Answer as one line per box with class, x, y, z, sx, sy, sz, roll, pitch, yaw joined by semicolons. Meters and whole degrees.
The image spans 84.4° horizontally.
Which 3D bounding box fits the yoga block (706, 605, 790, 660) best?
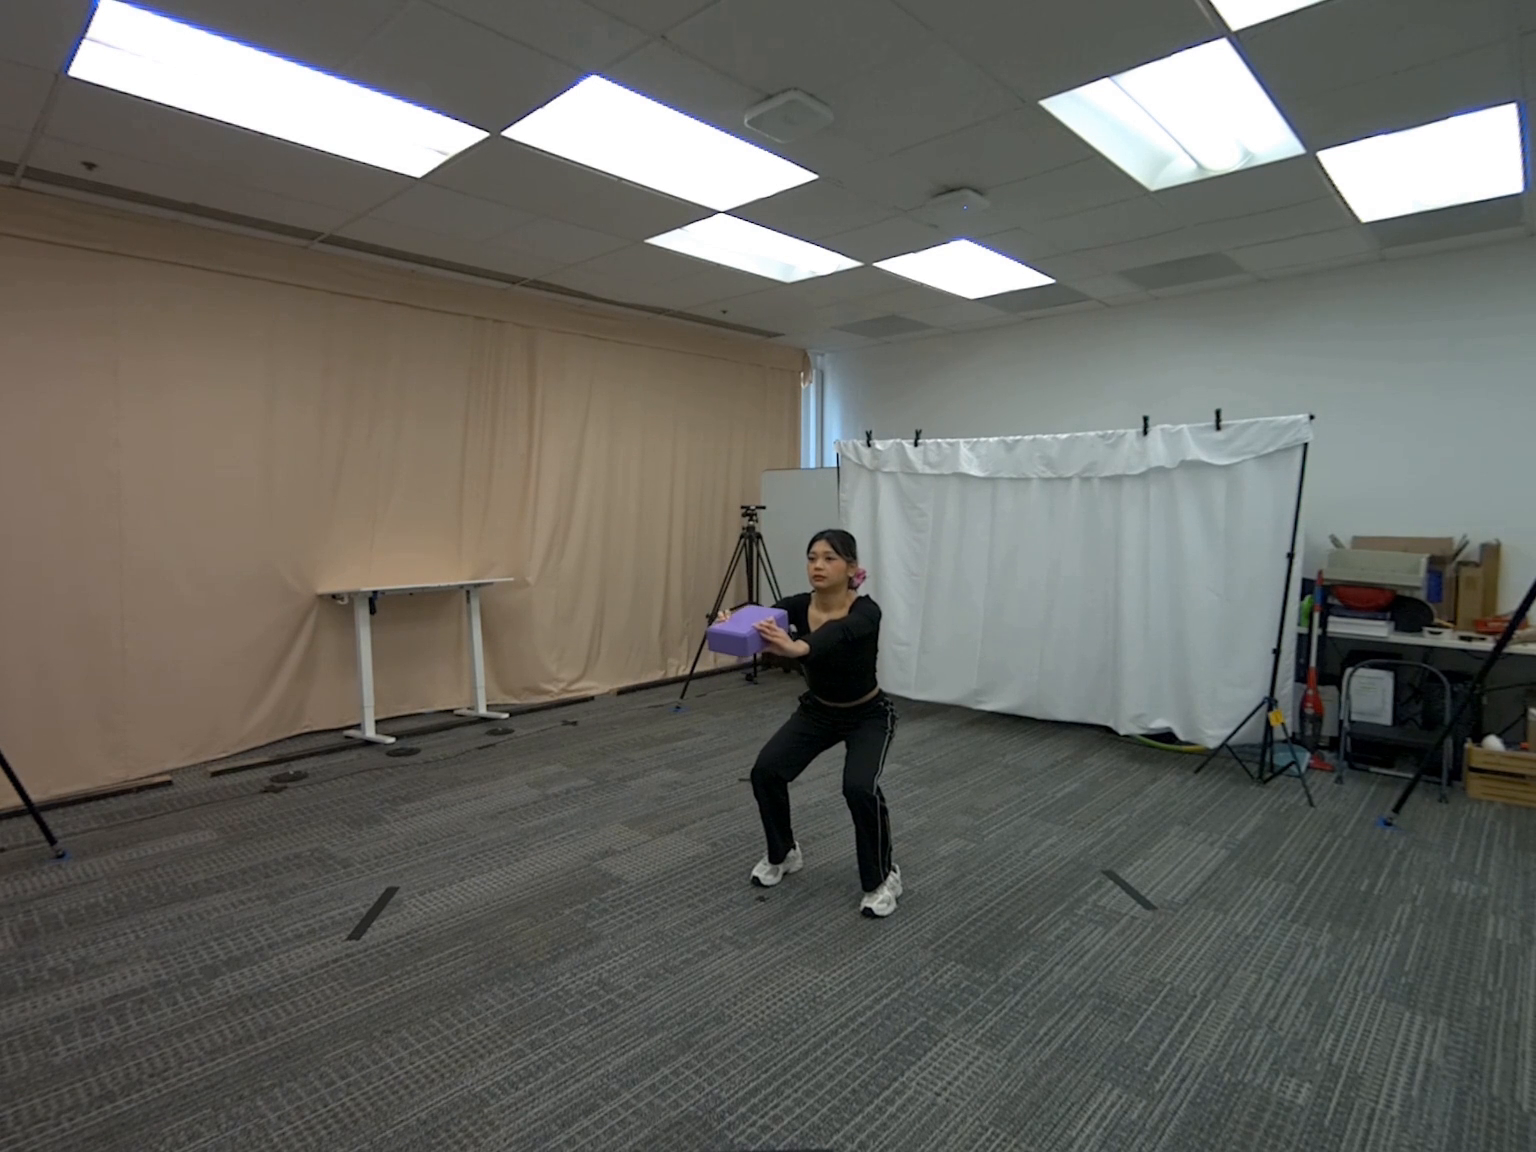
yoga block;-0.050;0.153;2.501;0.153;0.076;0.225;6;18;30
